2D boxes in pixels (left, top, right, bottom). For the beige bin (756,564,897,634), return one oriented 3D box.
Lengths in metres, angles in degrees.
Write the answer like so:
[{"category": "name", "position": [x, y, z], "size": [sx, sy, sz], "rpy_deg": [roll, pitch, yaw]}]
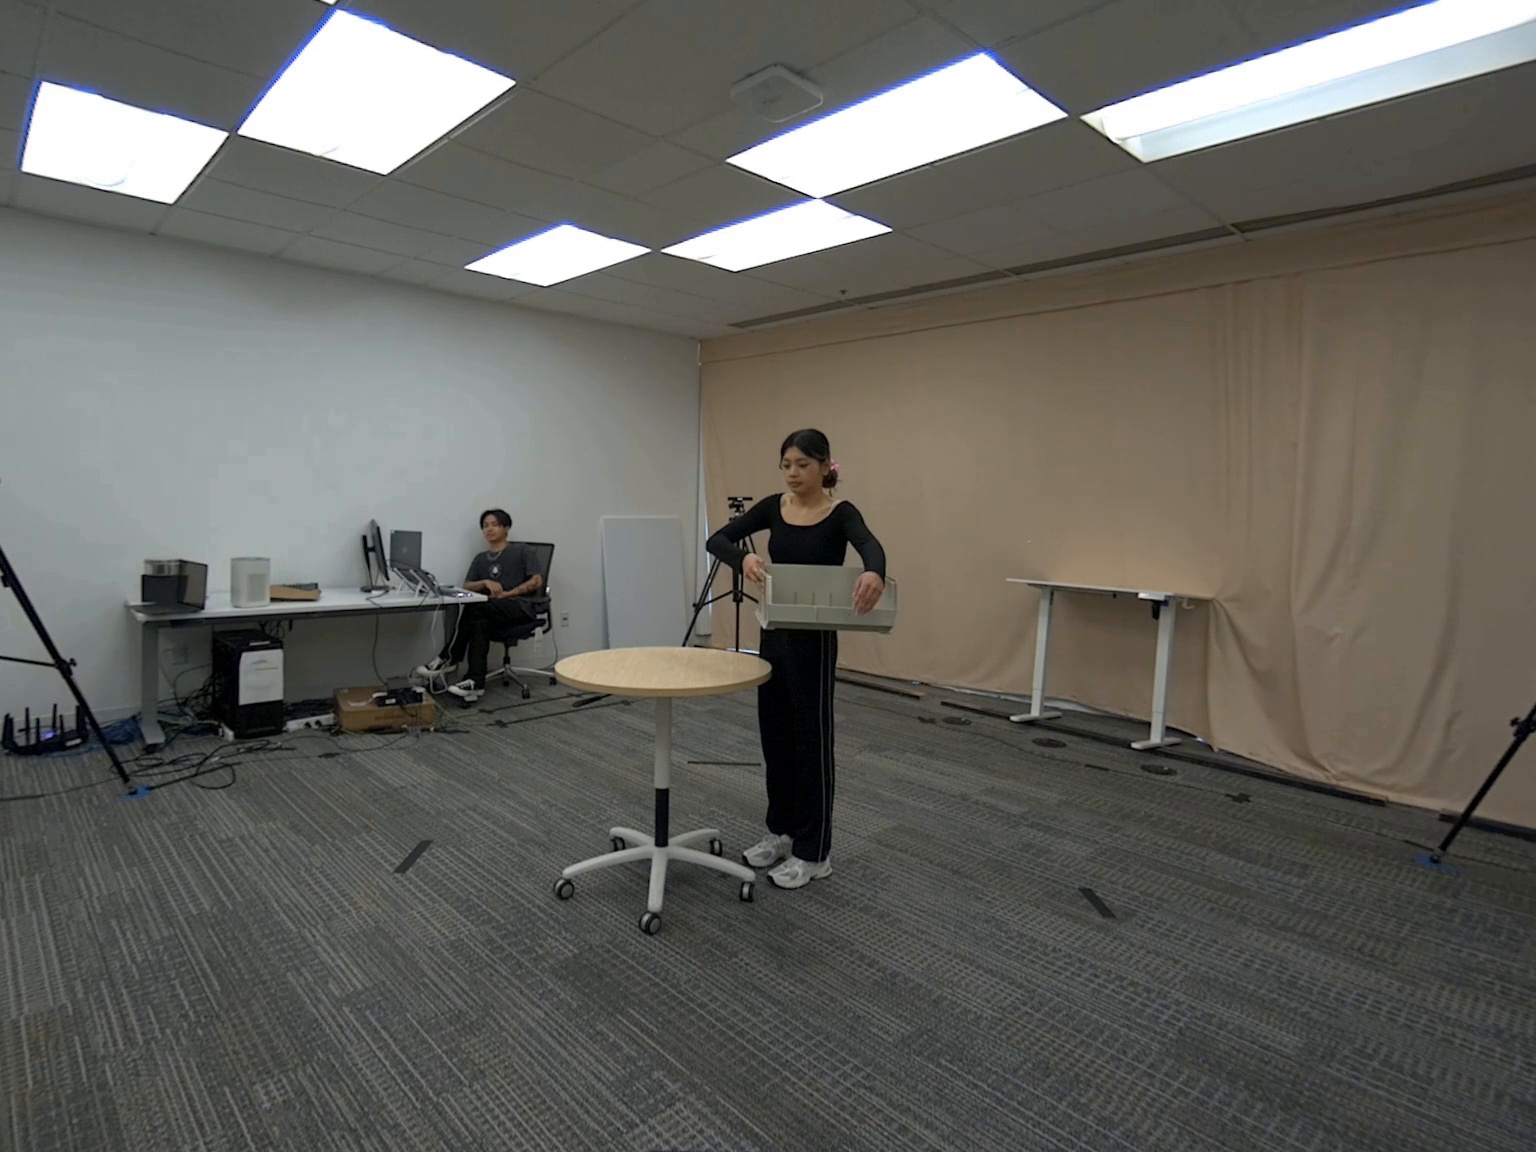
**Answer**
[{"category": "beige bin", "position": [0.174, 0.077, 2.818], "size": [0.420, 0.188, 0.380], "rpy_deg": [2, 6, -6]}]
